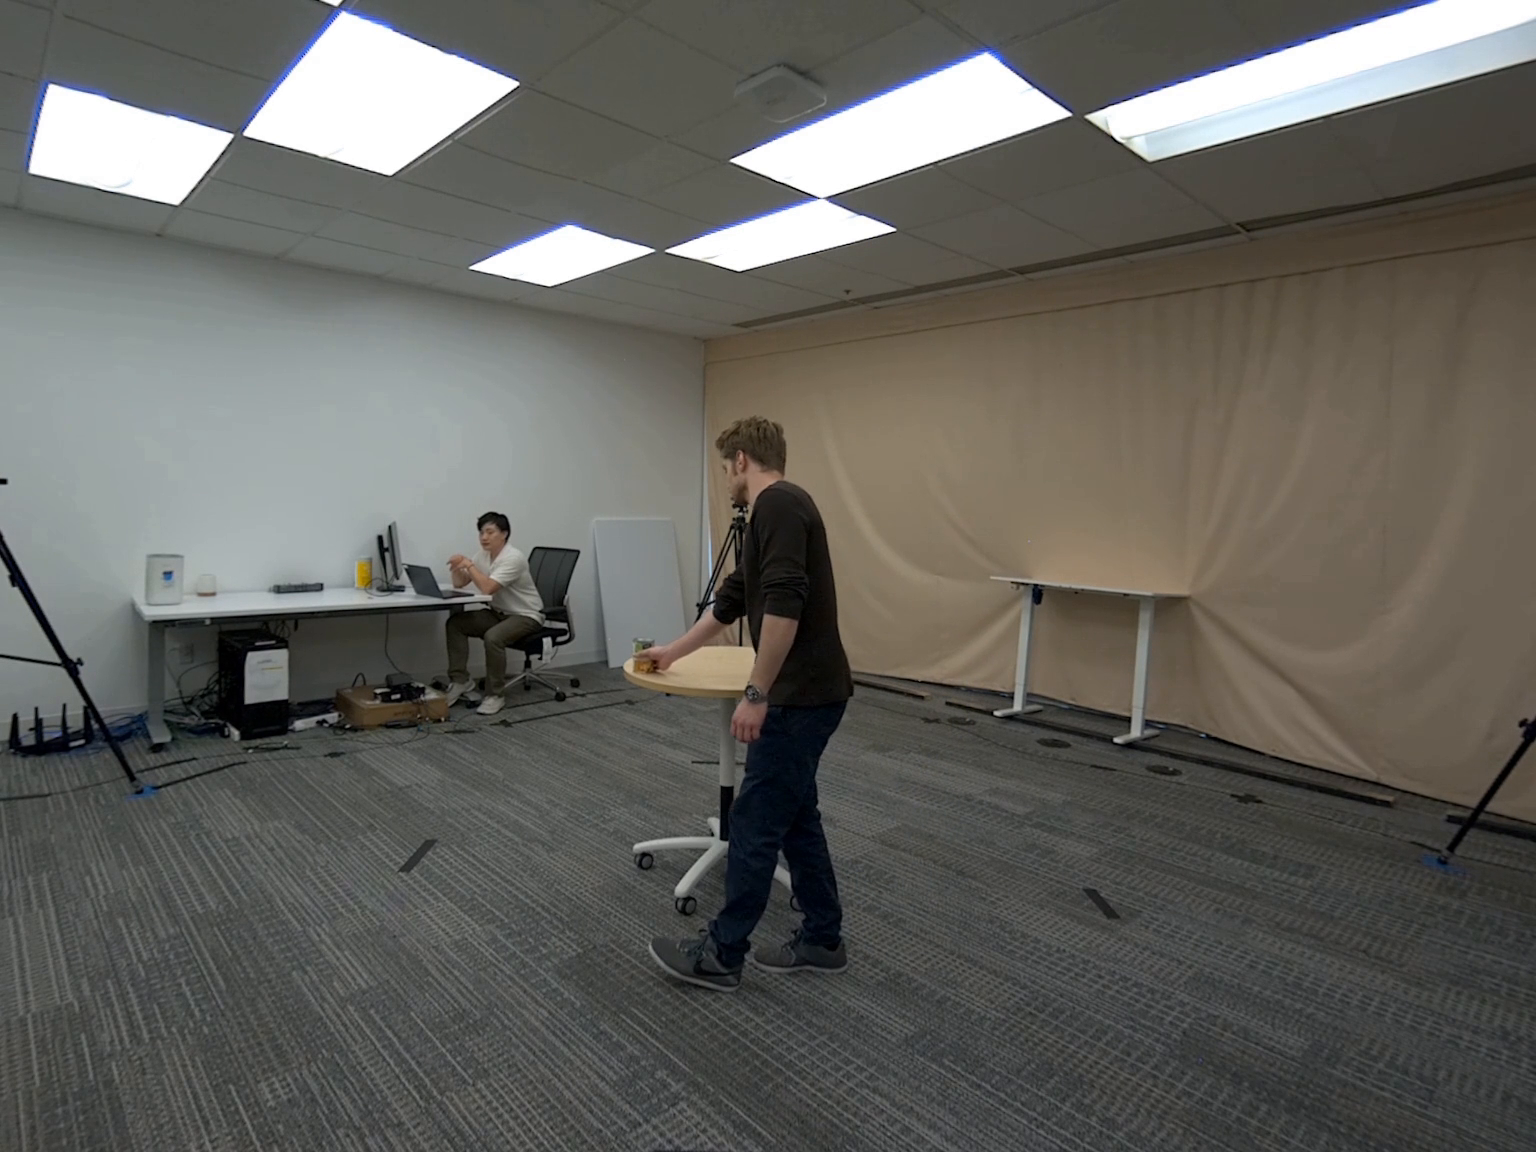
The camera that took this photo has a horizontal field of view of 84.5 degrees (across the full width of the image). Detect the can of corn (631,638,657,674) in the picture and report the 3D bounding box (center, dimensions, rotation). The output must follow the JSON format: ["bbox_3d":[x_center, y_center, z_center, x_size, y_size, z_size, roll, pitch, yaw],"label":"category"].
[{"bbox_3d":[-0.434,0.277,2.927,0.074,0.110,0.074,0,5,-1],"label":"can of corn"}]
